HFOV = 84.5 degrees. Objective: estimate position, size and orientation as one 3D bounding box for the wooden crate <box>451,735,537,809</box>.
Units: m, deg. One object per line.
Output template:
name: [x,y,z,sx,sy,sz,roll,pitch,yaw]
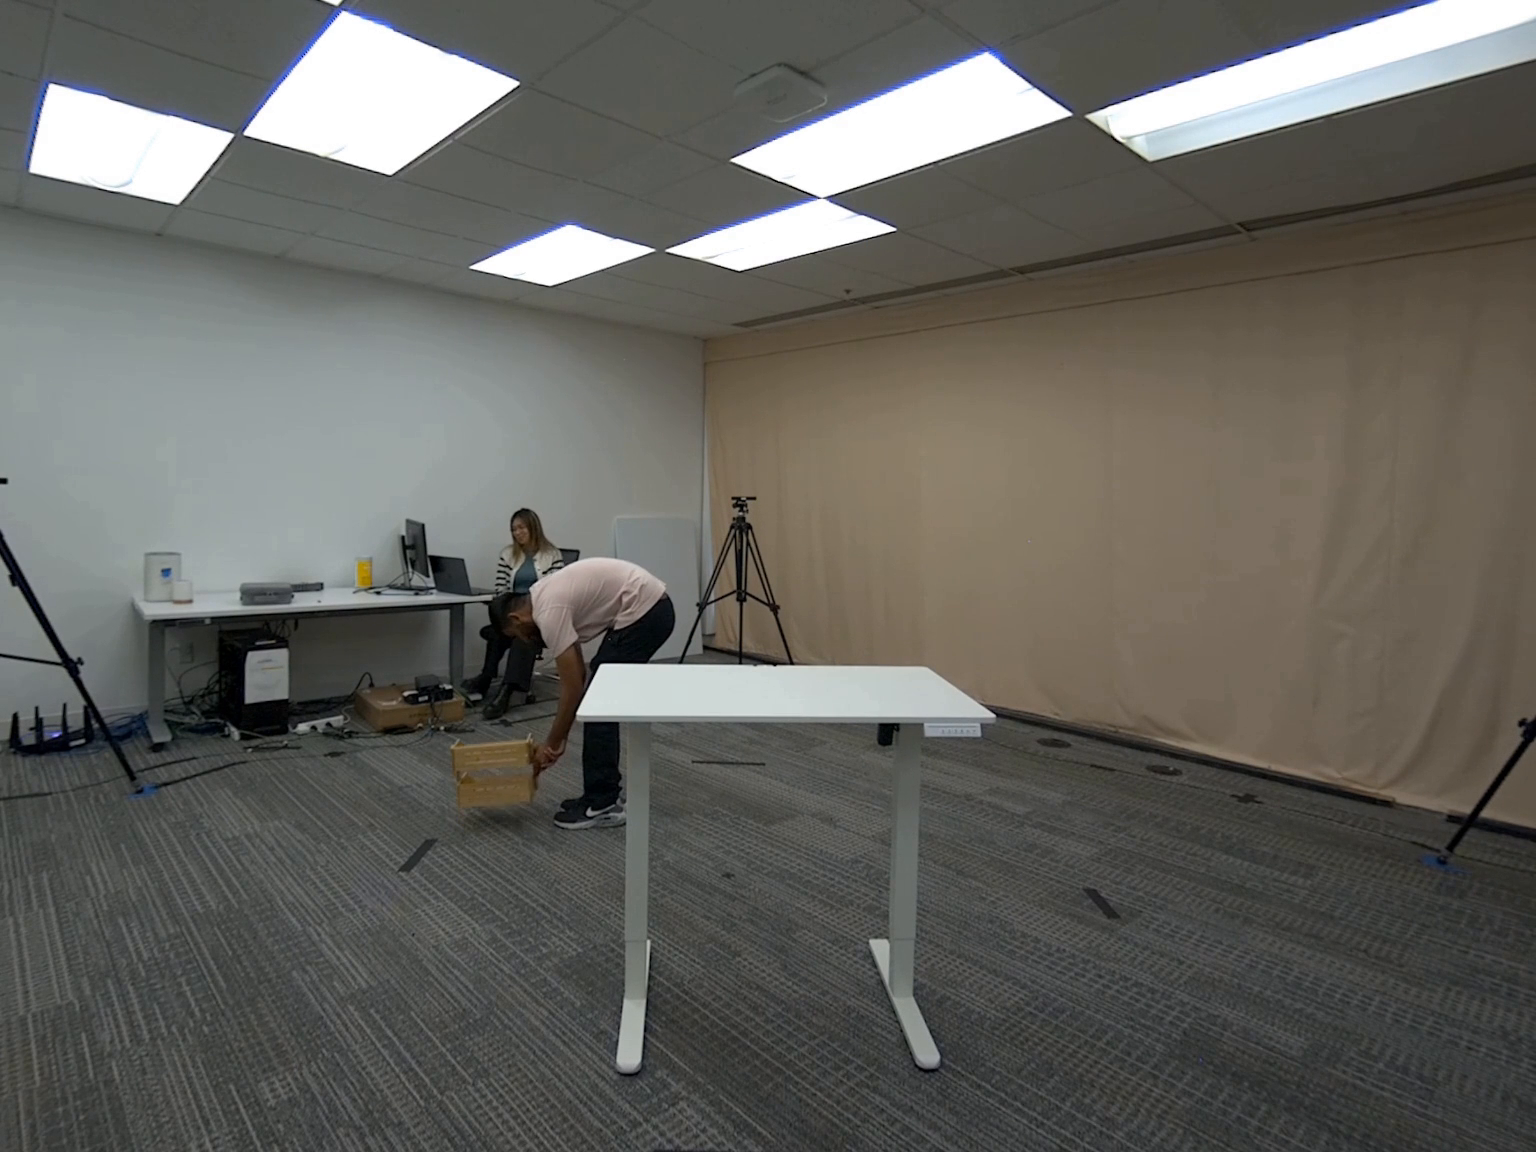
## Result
wooden crate: [-1.155,0.793,3.547,0.322,0.272,0.305,-3,4,-9]
